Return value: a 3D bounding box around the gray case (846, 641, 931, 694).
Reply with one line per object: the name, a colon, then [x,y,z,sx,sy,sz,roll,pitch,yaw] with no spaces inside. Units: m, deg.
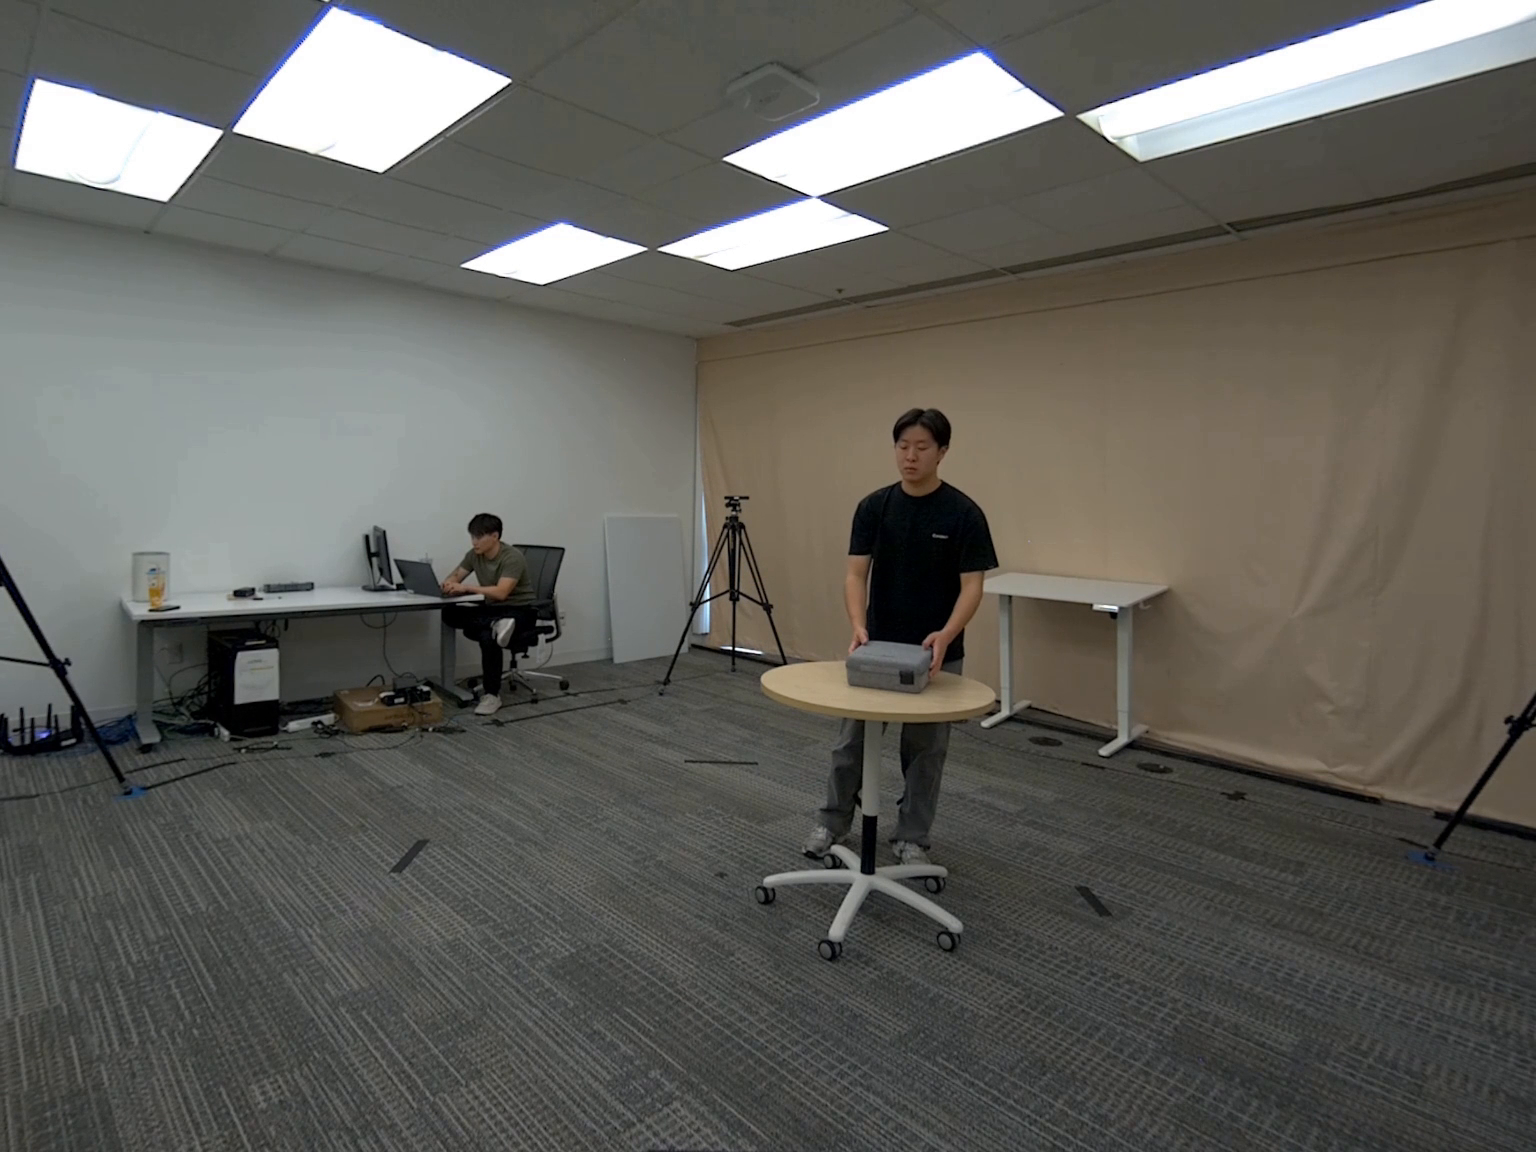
gray case: [0.401,0.301,2.821,0.268,0.102,0.284,4,10,23]
